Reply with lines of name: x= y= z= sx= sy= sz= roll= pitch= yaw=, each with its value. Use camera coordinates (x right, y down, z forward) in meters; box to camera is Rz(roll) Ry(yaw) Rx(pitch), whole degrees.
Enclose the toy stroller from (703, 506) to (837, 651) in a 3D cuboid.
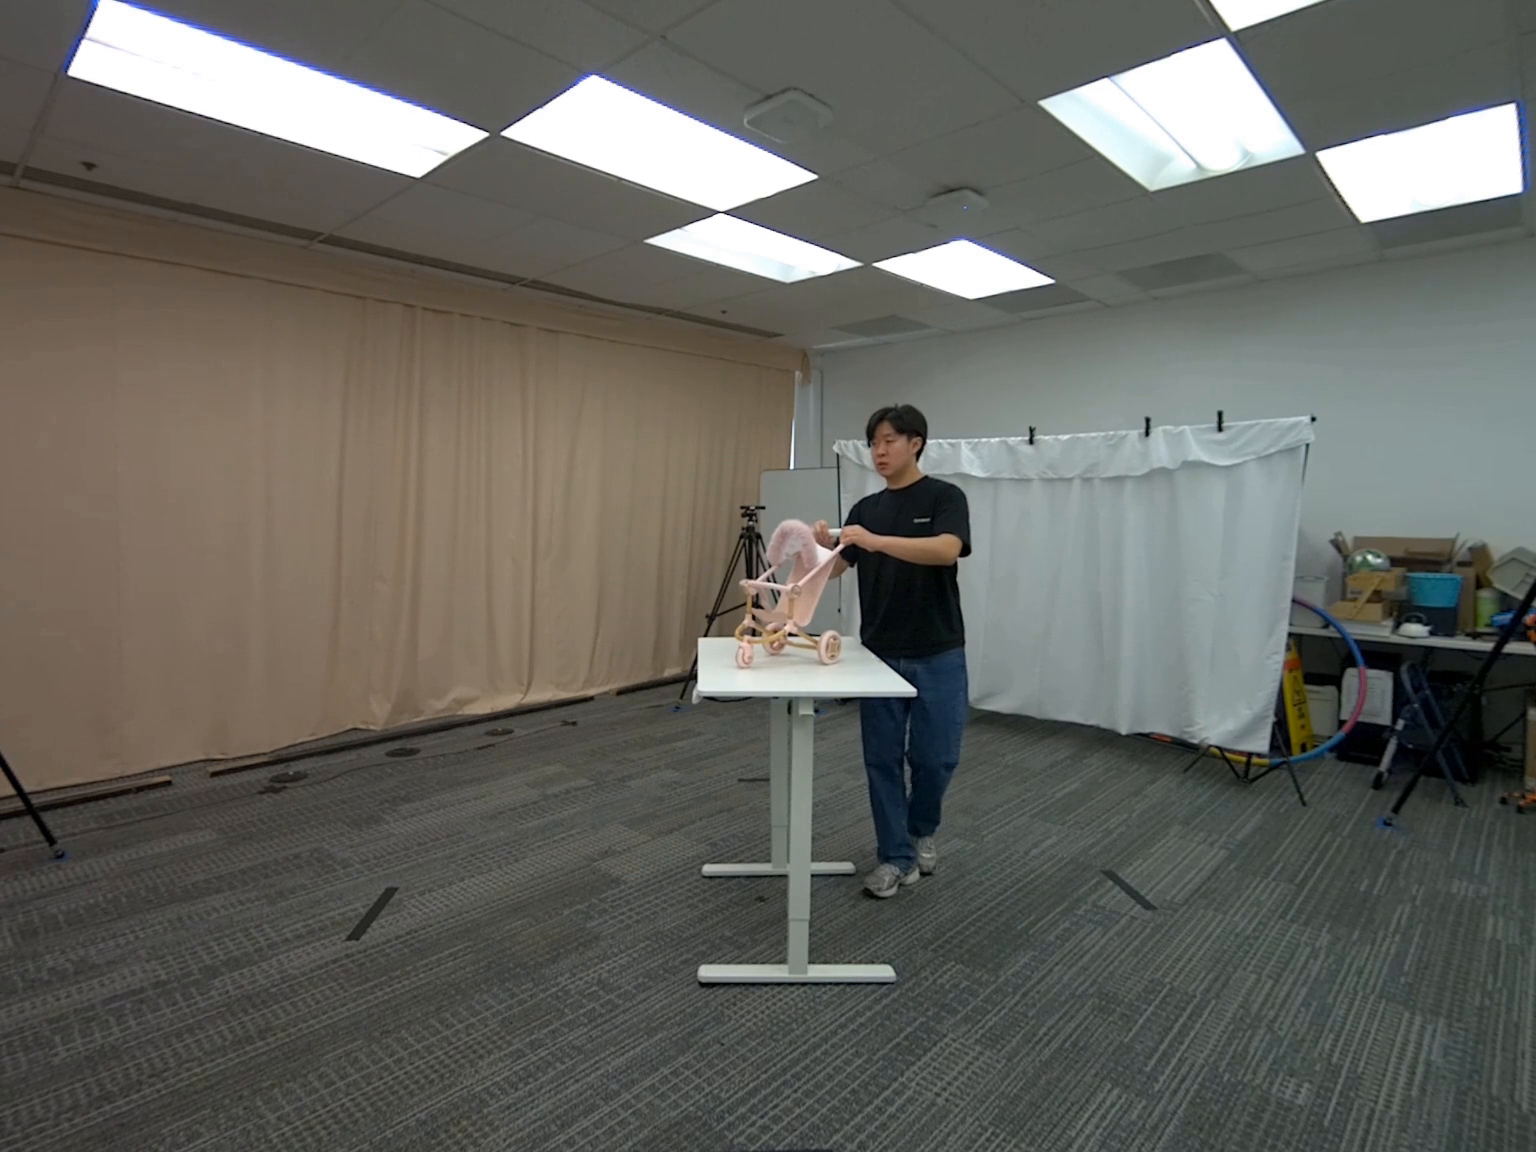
toy stroller: x=0.072 y=0.057 z=2.737 sx=0.329 sy=0.536 sz=0.290 roll=18 pitch=-9 yaw=-38
